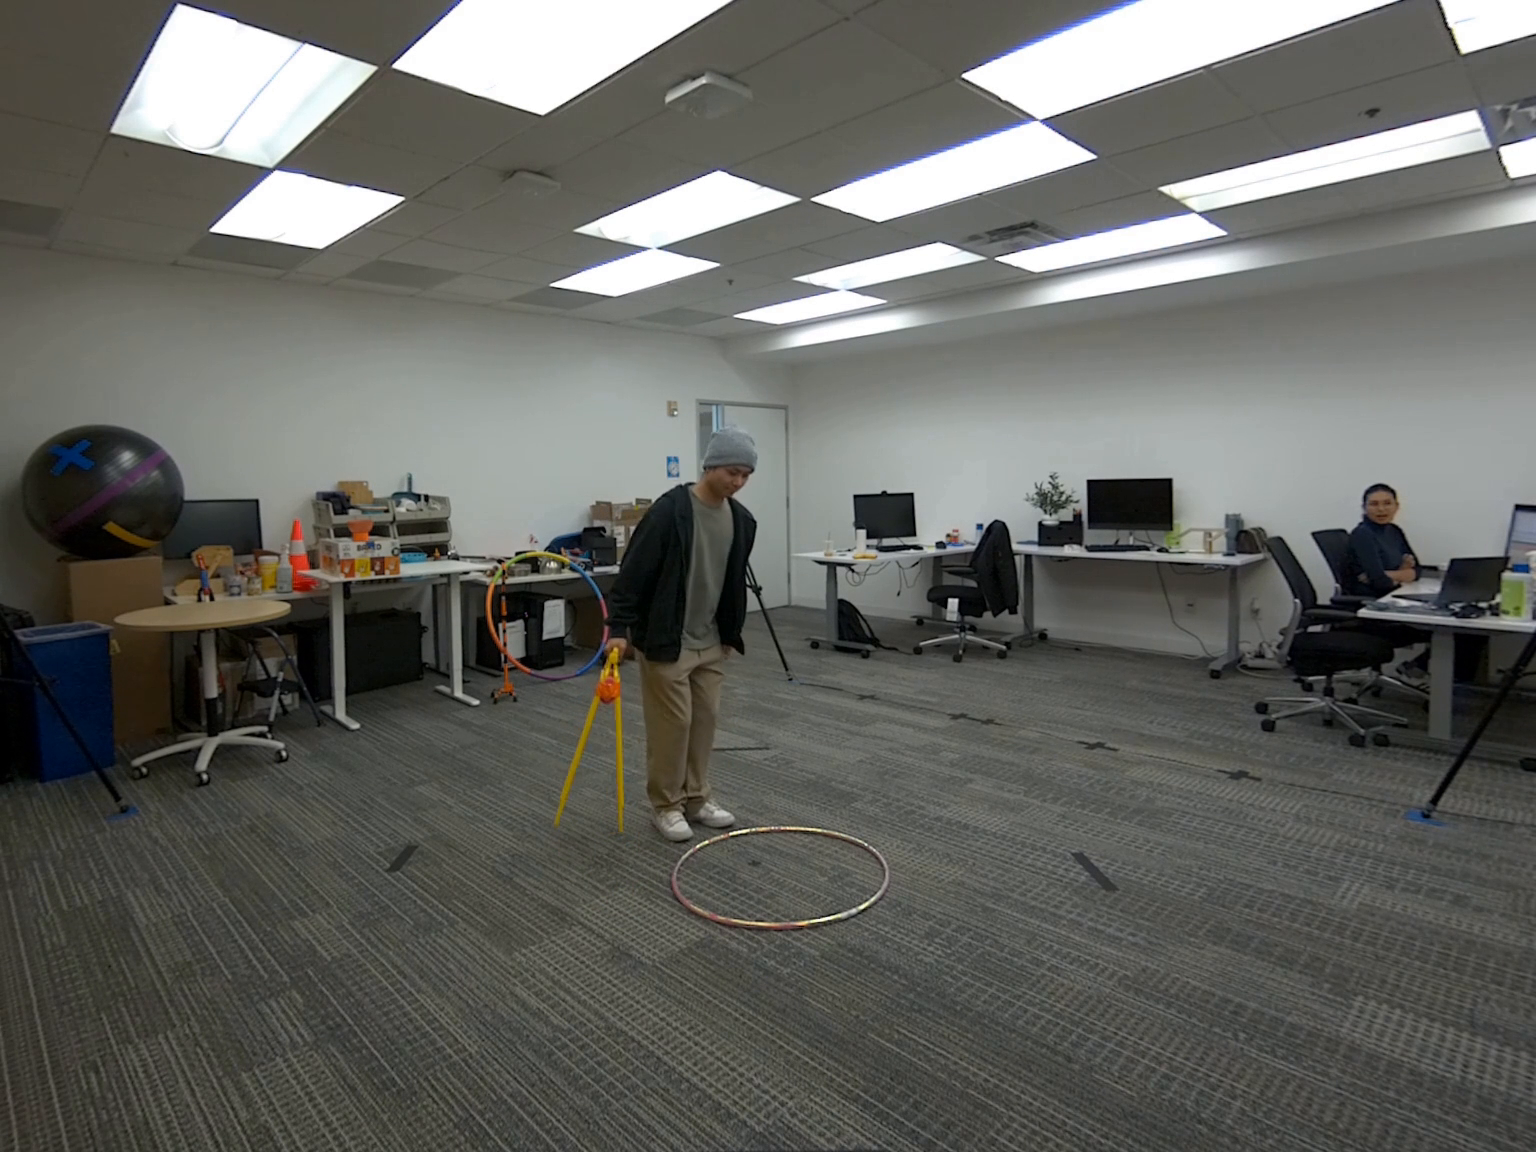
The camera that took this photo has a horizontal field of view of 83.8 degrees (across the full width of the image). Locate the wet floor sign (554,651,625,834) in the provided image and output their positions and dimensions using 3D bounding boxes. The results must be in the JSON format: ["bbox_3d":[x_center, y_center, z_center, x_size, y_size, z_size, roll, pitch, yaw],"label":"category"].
[{"bbox_3d":[-0.613,0.590,3.197,0.287,0.646,0.285,8,0,-9],"label":"wet floor sign"}]
